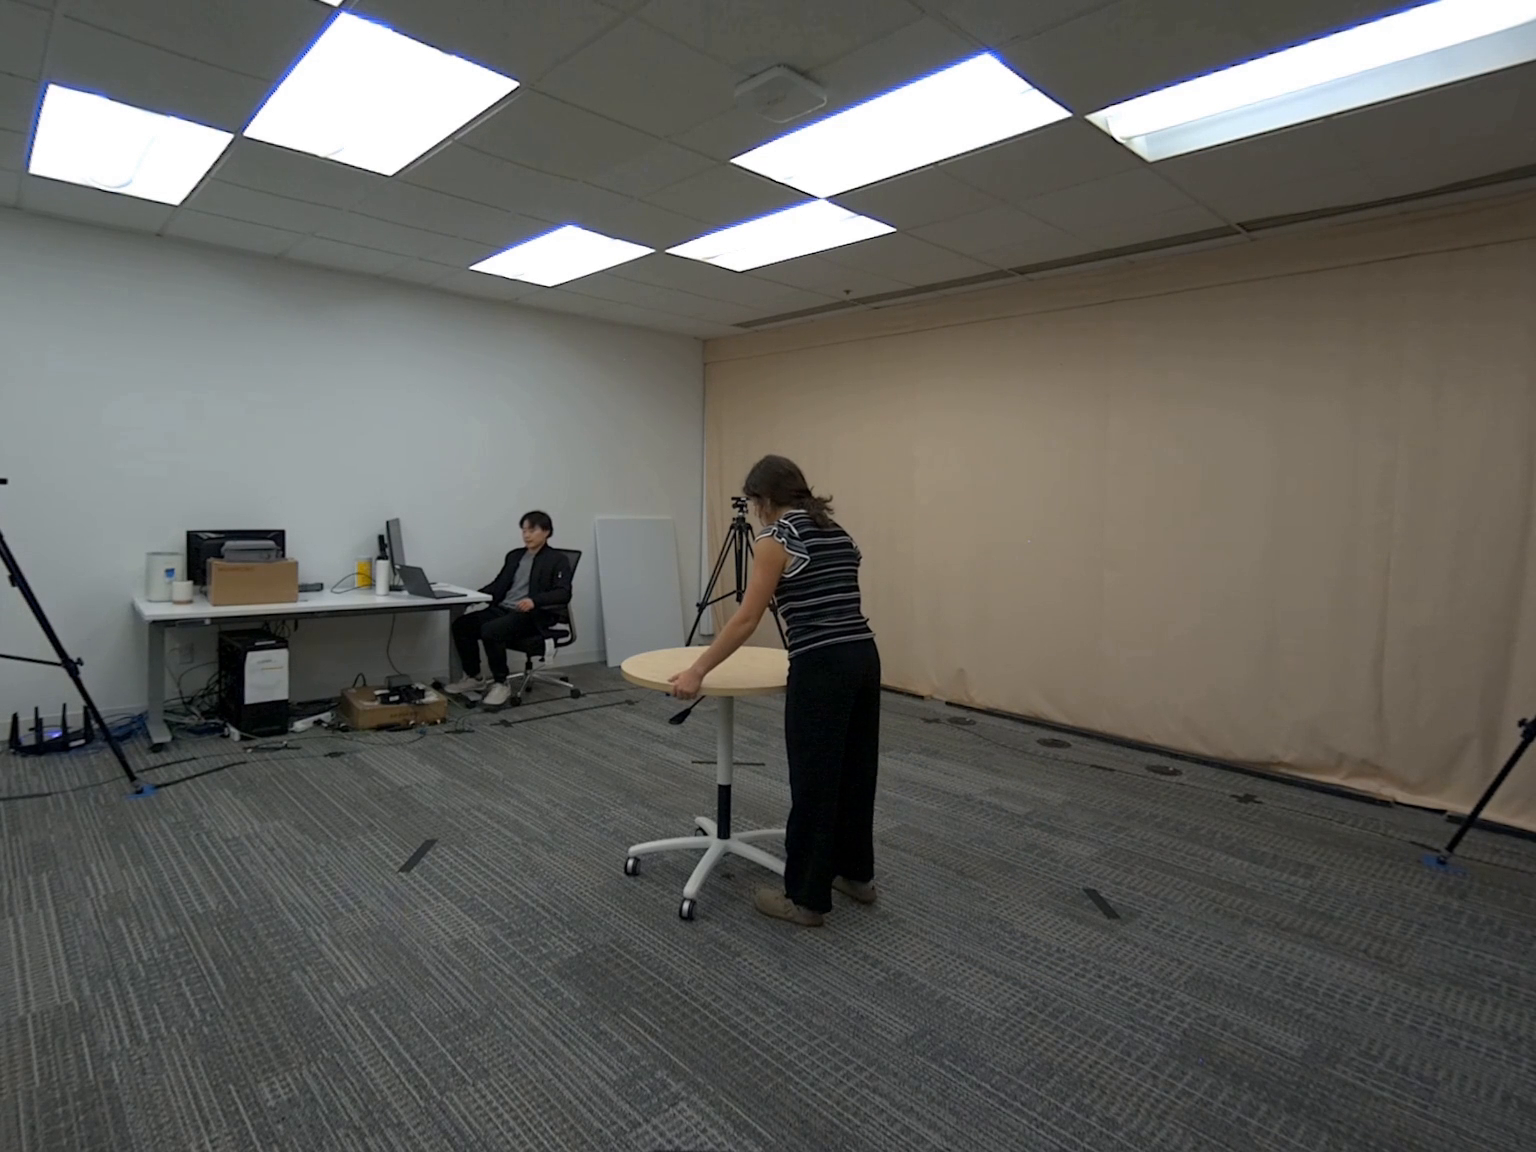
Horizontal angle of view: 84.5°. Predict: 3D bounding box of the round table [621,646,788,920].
[{"bbox_3d":[-0.167,0.718,3.099,0.763,0.792,0.766,1,4,-1],"label":"round table"}]
